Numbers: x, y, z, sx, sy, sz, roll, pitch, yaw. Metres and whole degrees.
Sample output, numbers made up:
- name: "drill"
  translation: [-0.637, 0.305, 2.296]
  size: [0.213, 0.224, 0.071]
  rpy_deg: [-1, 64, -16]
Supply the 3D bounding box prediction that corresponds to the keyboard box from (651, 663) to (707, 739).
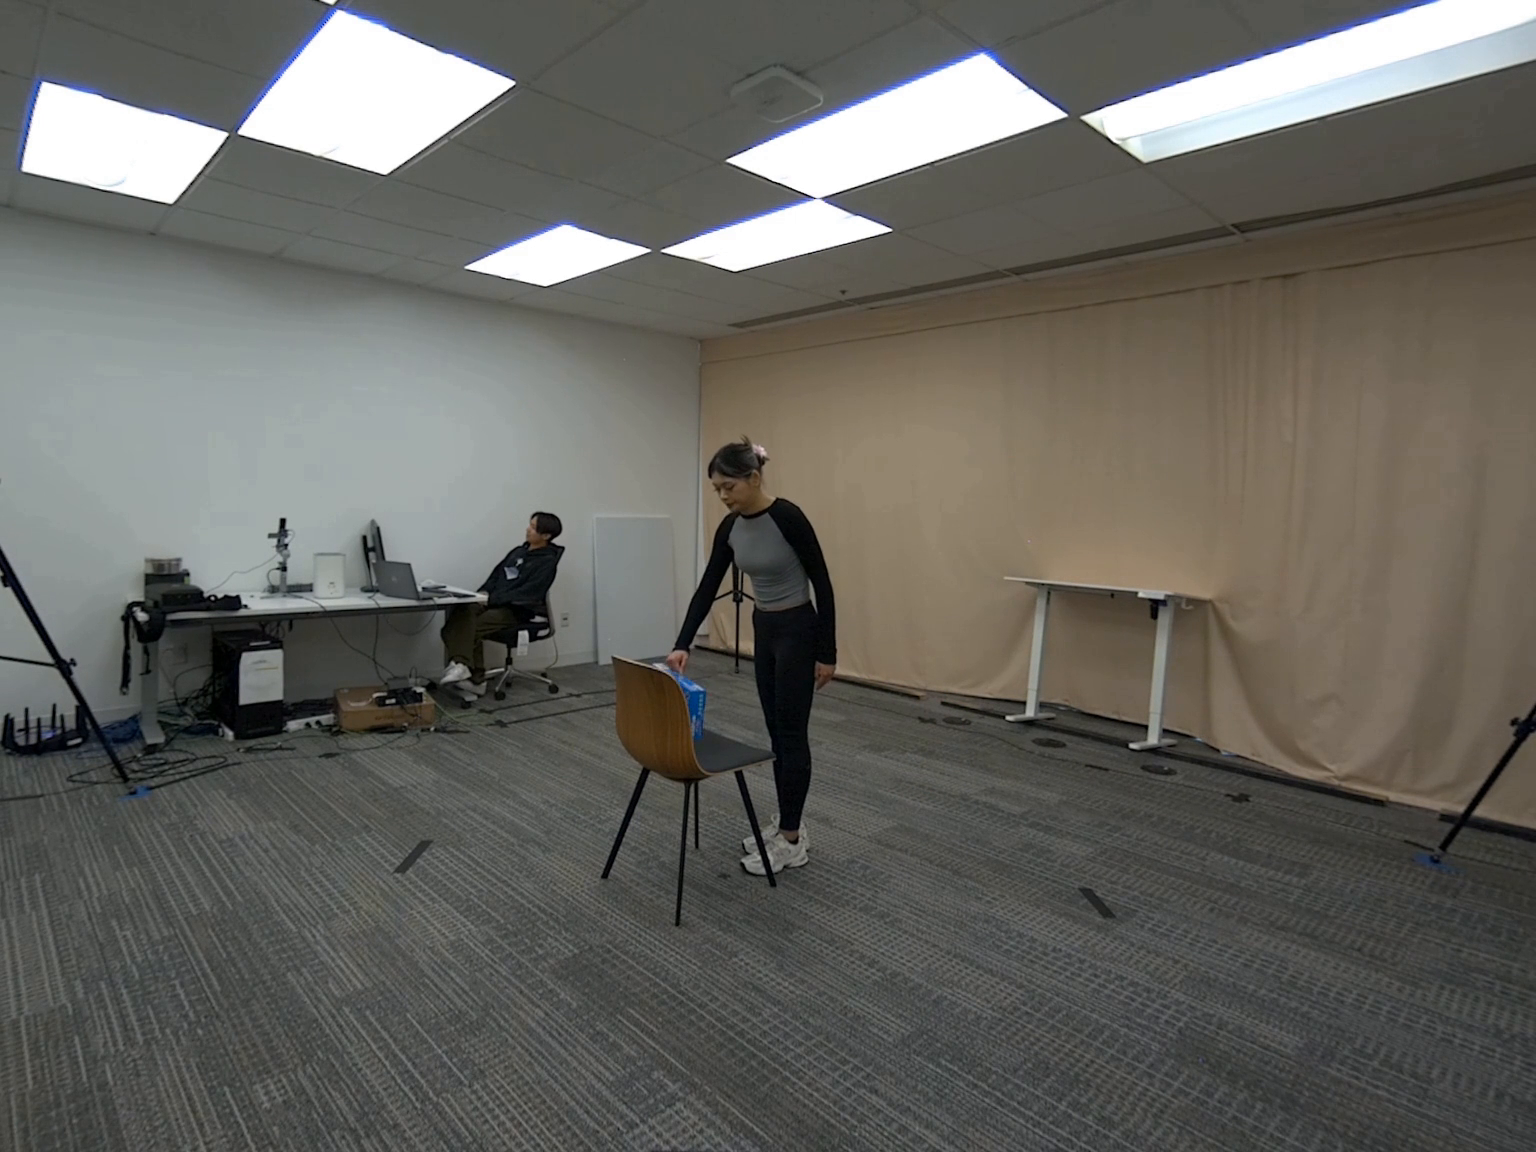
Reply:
- name: "keyboard box"
  translation: [-0.351, 0.456, 3.107]
  size: [0.058, 0.175, 0.447]
  rpy_deg: [4, 5, -27]
